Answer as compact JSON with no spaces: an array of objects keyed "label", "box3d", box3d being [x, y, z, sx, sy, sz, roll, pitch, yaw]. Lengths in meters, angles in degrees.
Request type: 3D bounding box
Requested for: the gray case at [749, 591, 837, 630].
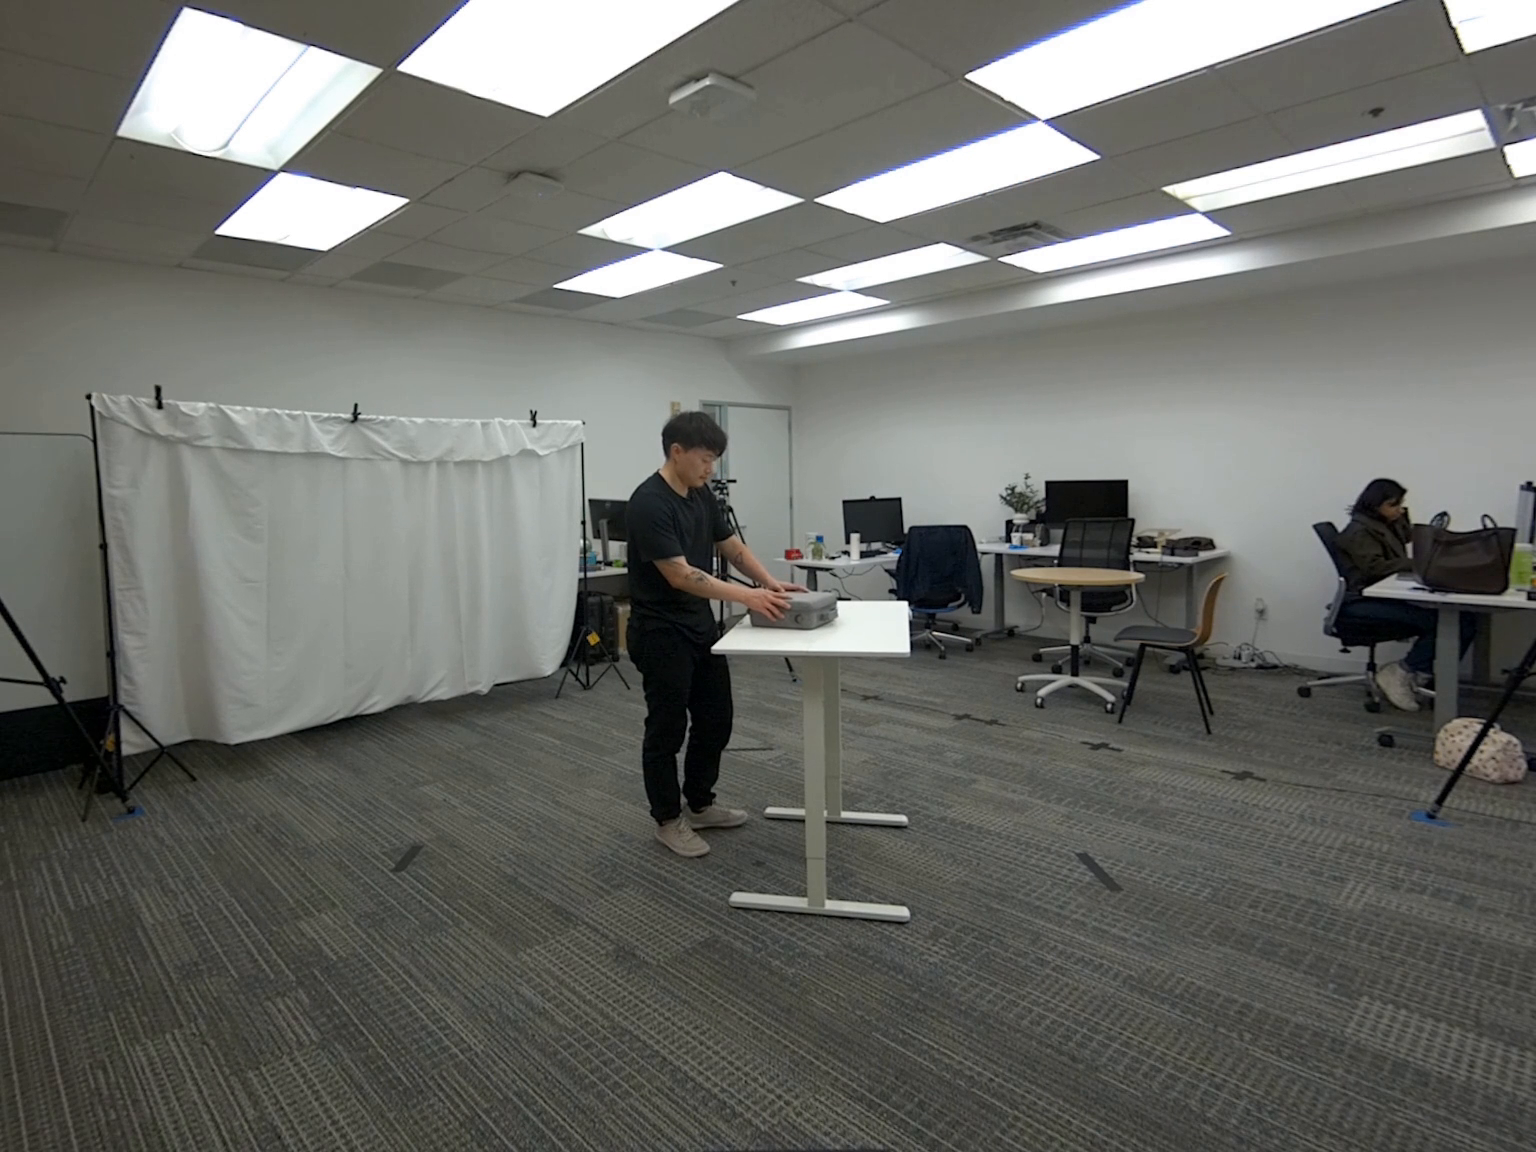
[{"label":"gray case","box3d":[0.097,0.117,3.059,0.267,0.104,0.251,1,5,29]}]
